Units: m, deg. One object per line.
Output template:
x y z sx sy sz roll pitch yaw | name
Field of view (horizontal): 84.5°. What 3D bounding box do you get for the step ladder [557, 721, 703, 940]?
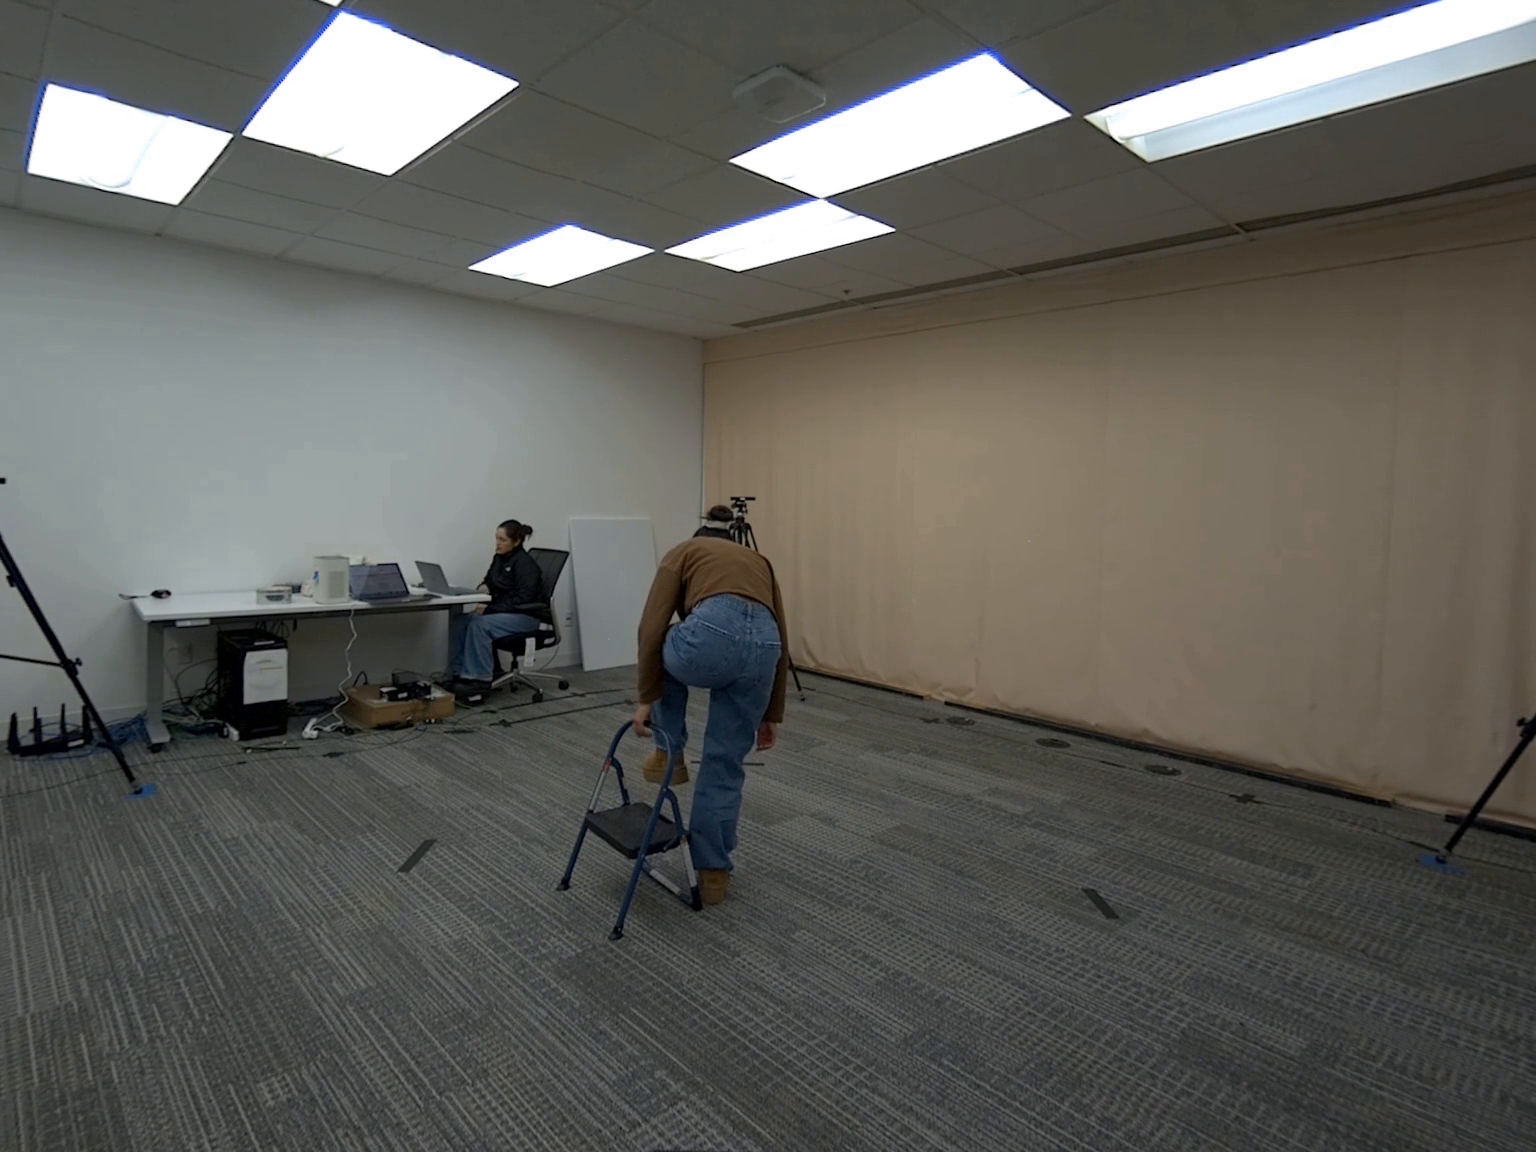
-0.478 0.816 2.884 0.341 0.605 0.441 -1 4 -37 | step ladder
